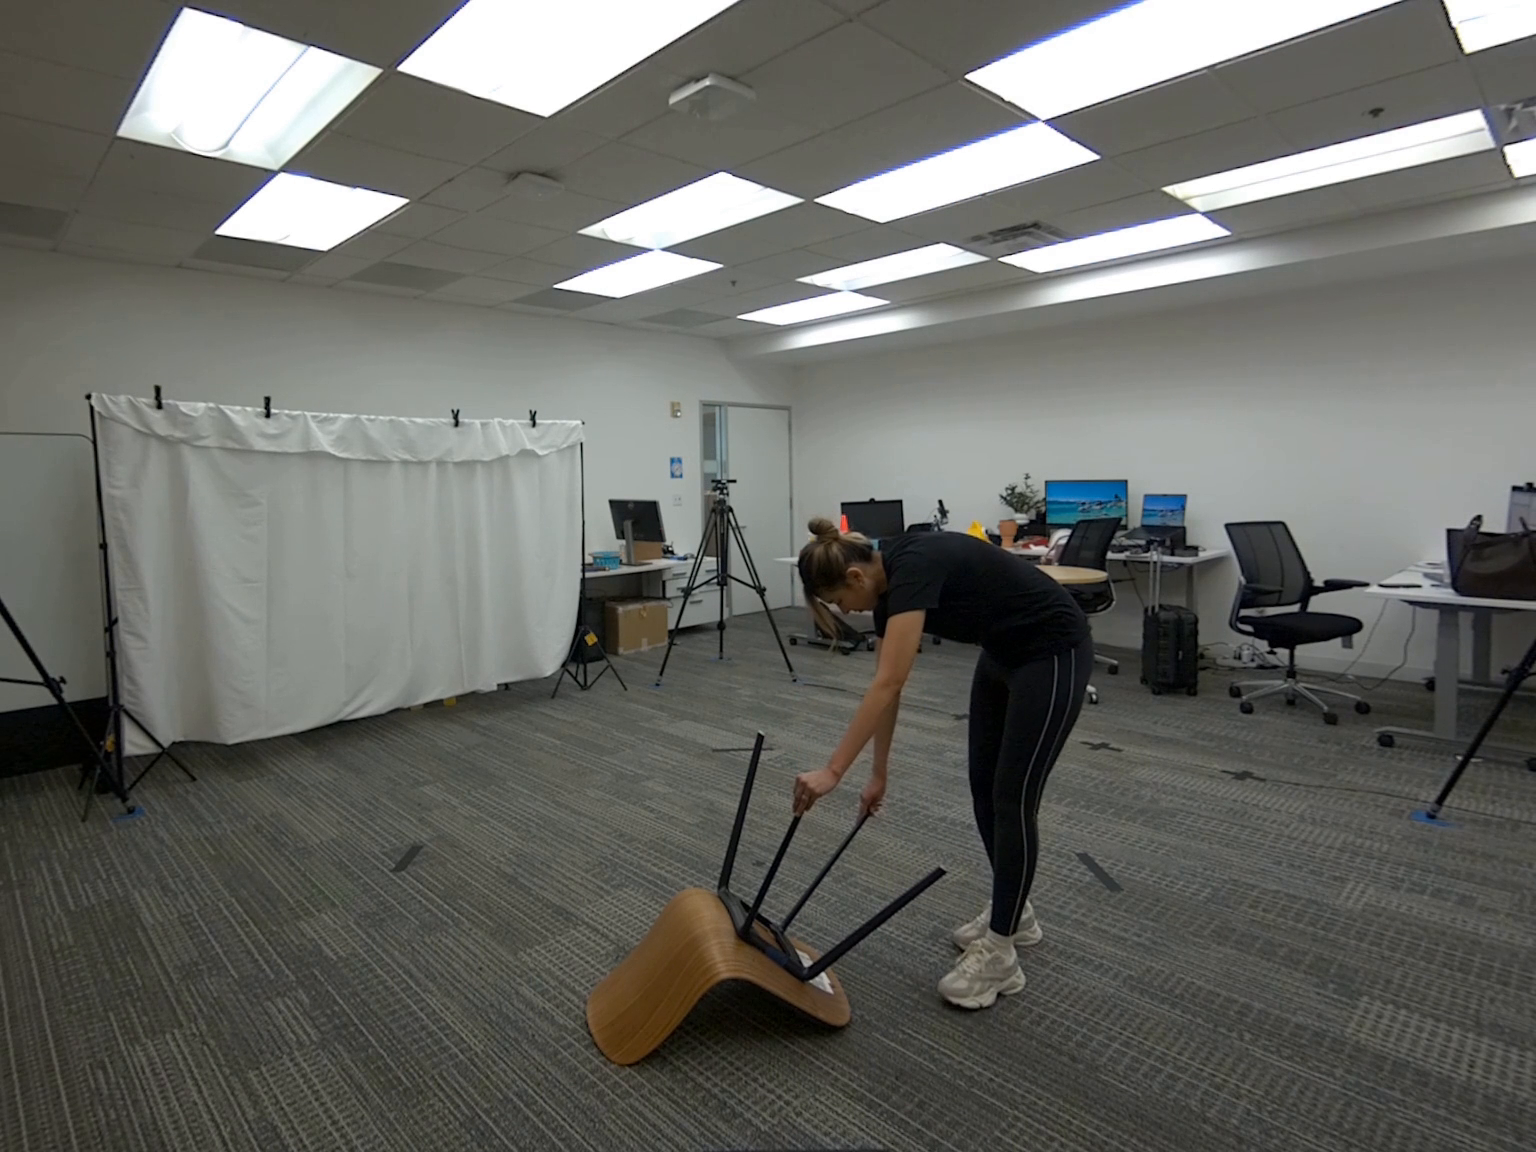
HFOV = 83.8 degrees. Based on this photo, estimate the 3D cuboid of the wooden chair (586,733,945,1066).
[{"bbox_3d":[-0.006,0.971,2.313,0.514,0.878,0.487,38,-6,-15],"label":"wooden chair"}]
